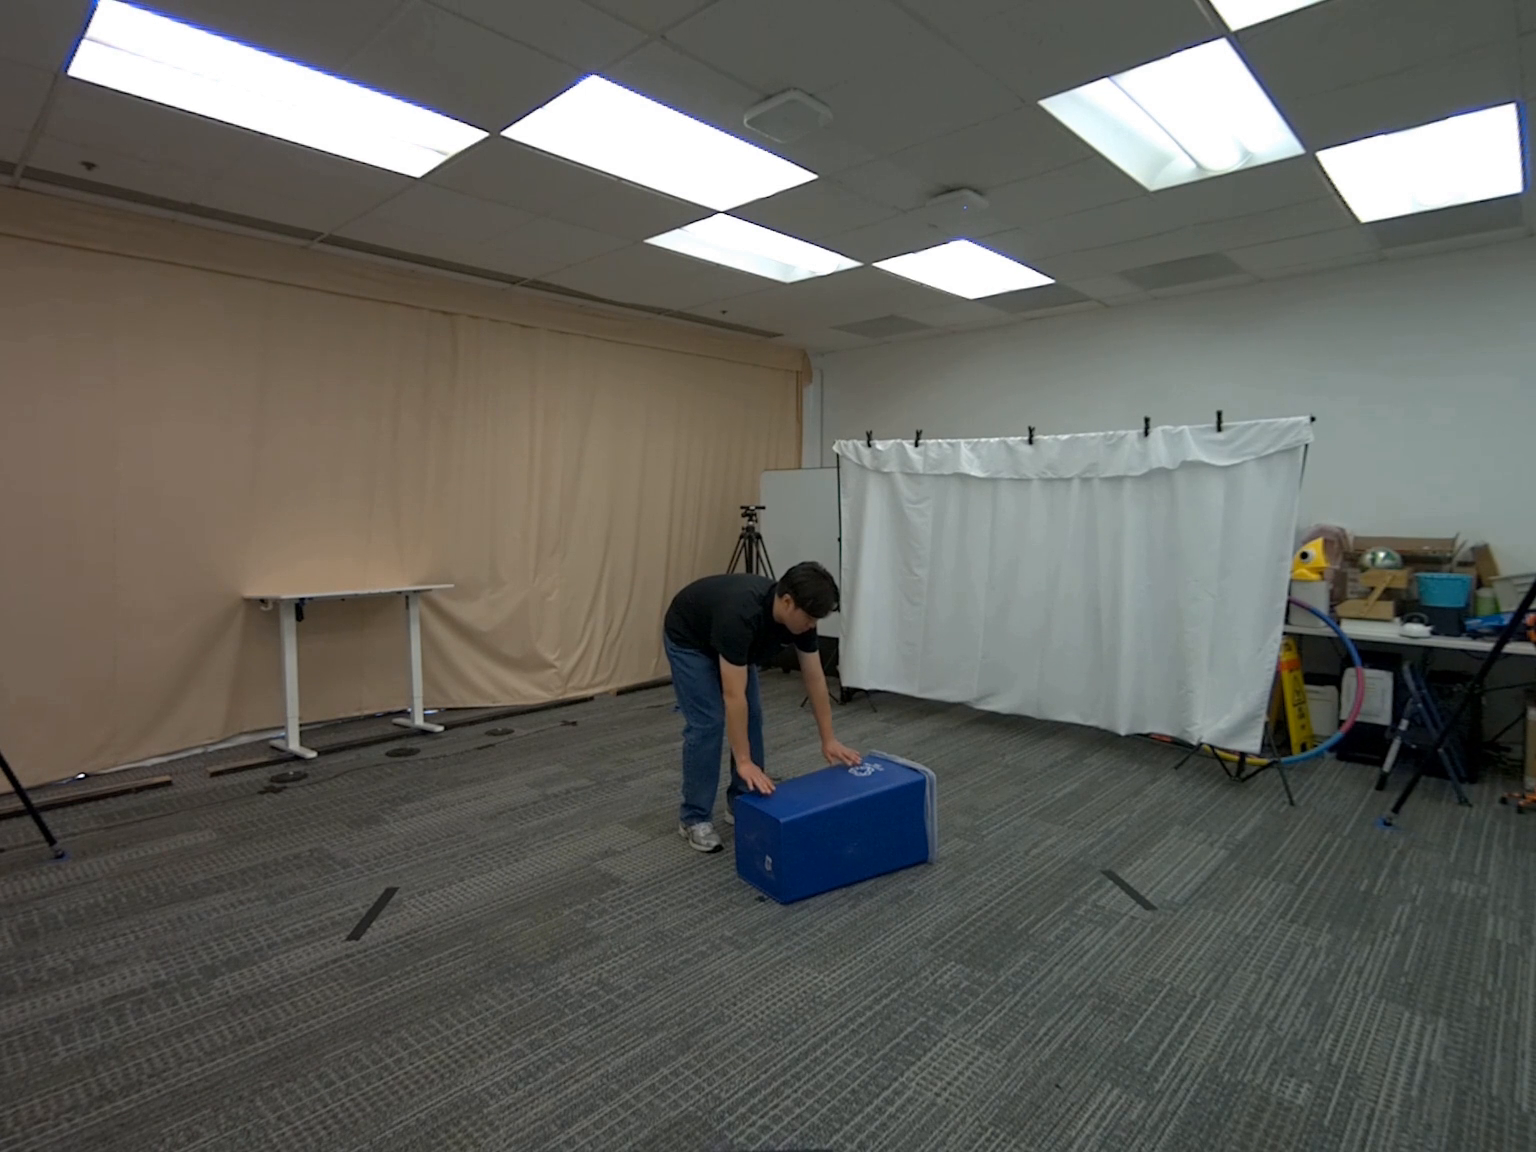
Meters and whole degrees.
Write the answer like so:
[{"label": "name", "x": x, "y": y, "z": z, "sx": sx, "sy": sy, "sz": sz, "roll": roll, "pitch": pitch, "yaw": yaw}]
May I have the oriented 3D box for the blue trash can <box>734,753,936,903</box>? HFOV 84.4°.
[{"label": "blue trash can", "x": 0.263, "y": 0.956, "z": 3.216, "sx": 0.694, "sy": 0.376, "sz": 0.386, "roll": -7, "pitch": 7, "yaw": -34}]
